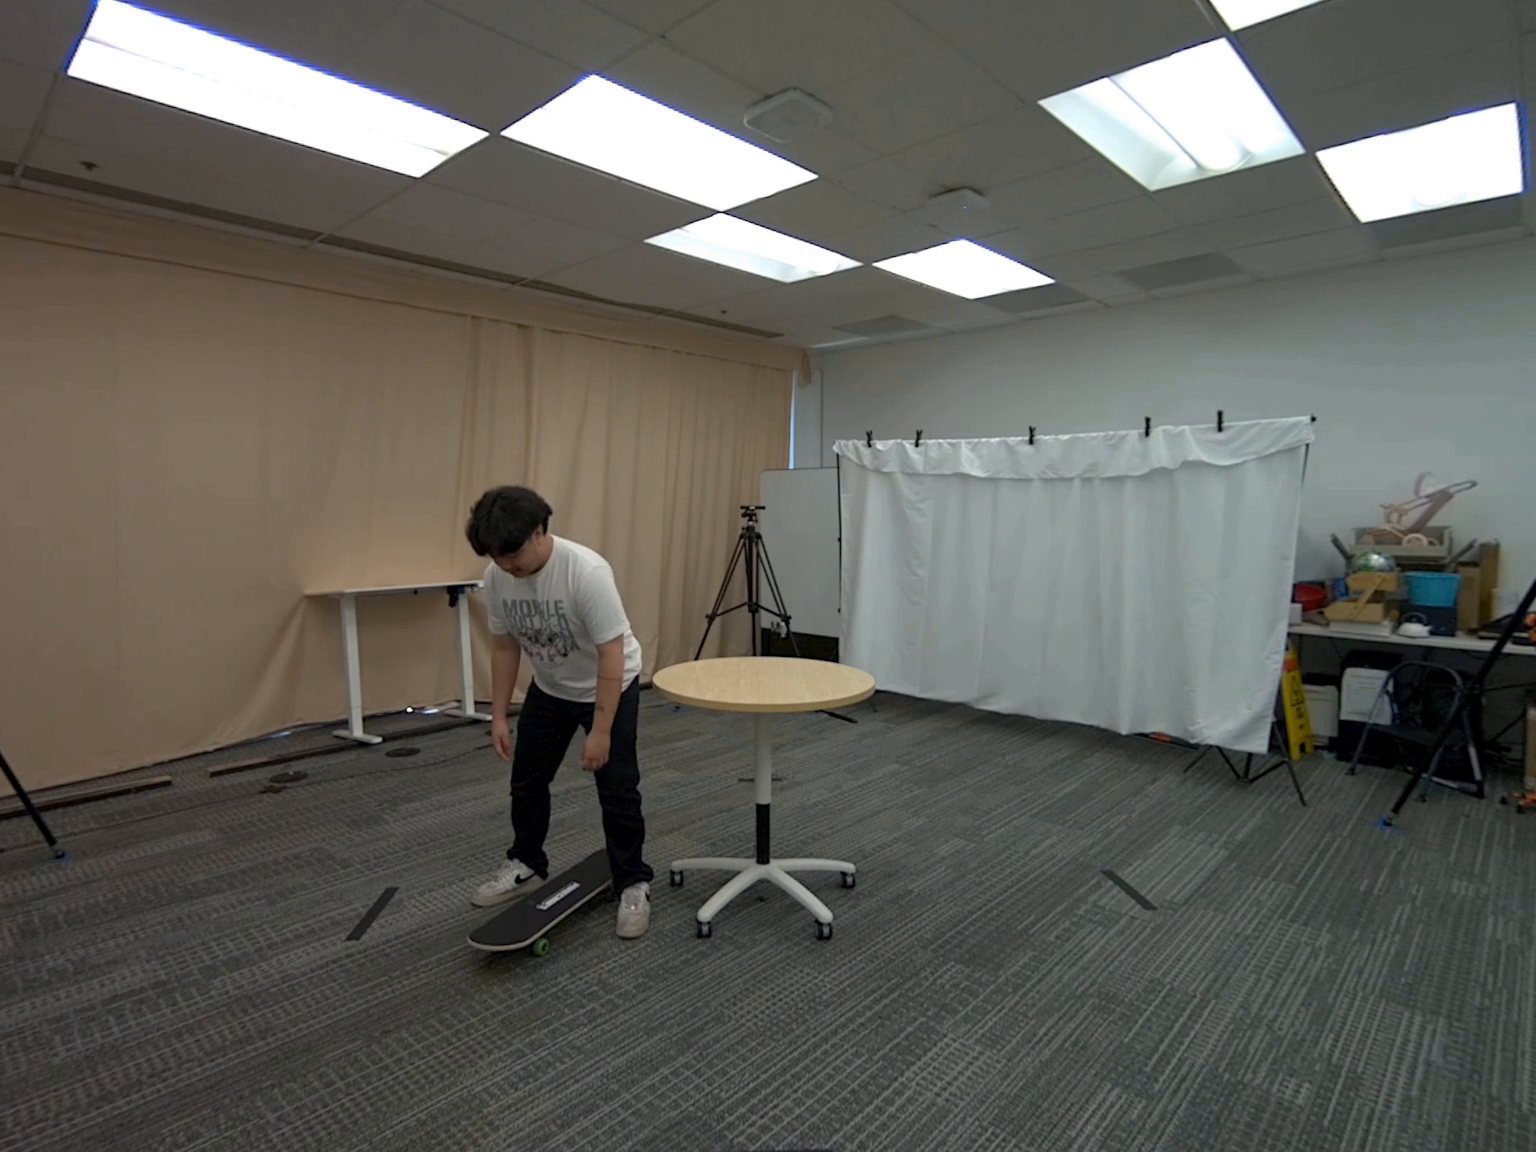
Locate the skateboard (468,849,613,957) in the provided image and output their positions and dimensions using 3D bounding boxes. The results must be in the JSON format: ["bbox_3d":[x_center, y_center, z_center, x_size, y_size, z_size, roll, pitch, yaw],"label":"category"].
[{"bbox_3d":[-0.705,1.109,2.829,0.198,0.110,0.768,1,5,22],"label":"skateboard"}]
